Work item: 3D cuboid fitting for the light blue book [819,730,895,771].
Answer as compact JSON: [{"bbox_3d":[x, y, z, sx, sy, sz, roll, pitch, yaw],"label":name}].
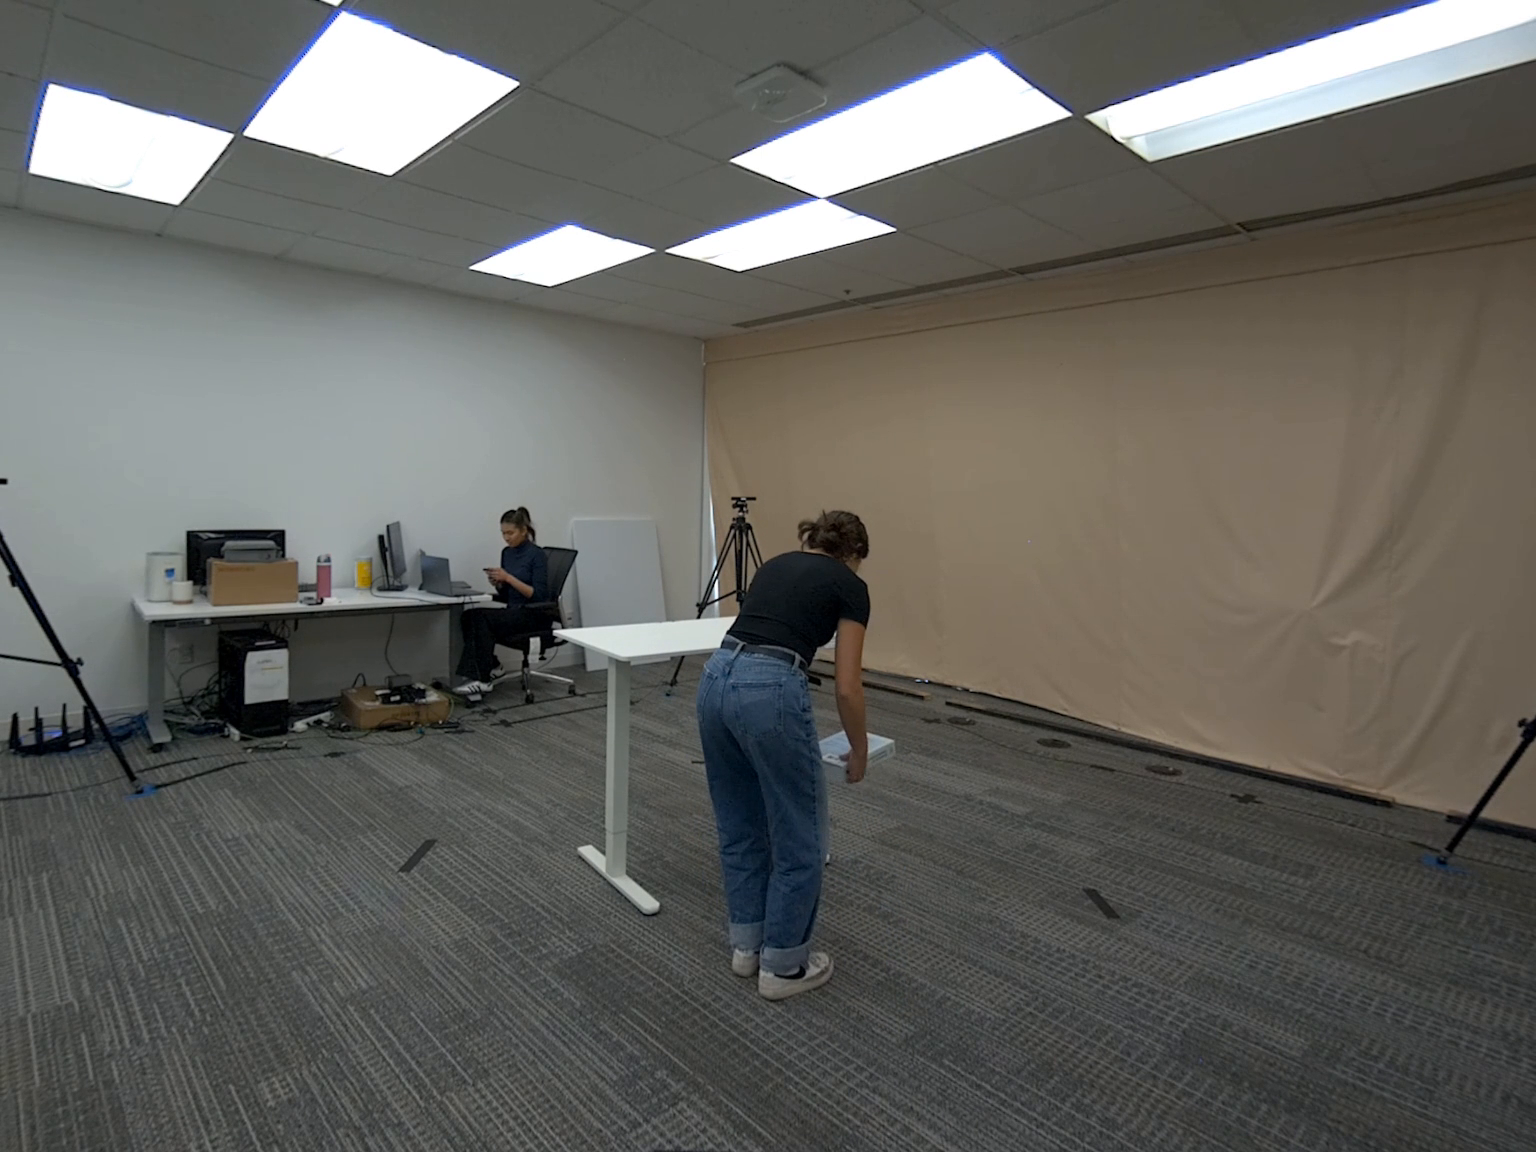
[{"bbox_3d":[0.246,0.575,2.688,0.256,0.058,0.196,-12,13,-41],"label":"light blue book"}]
